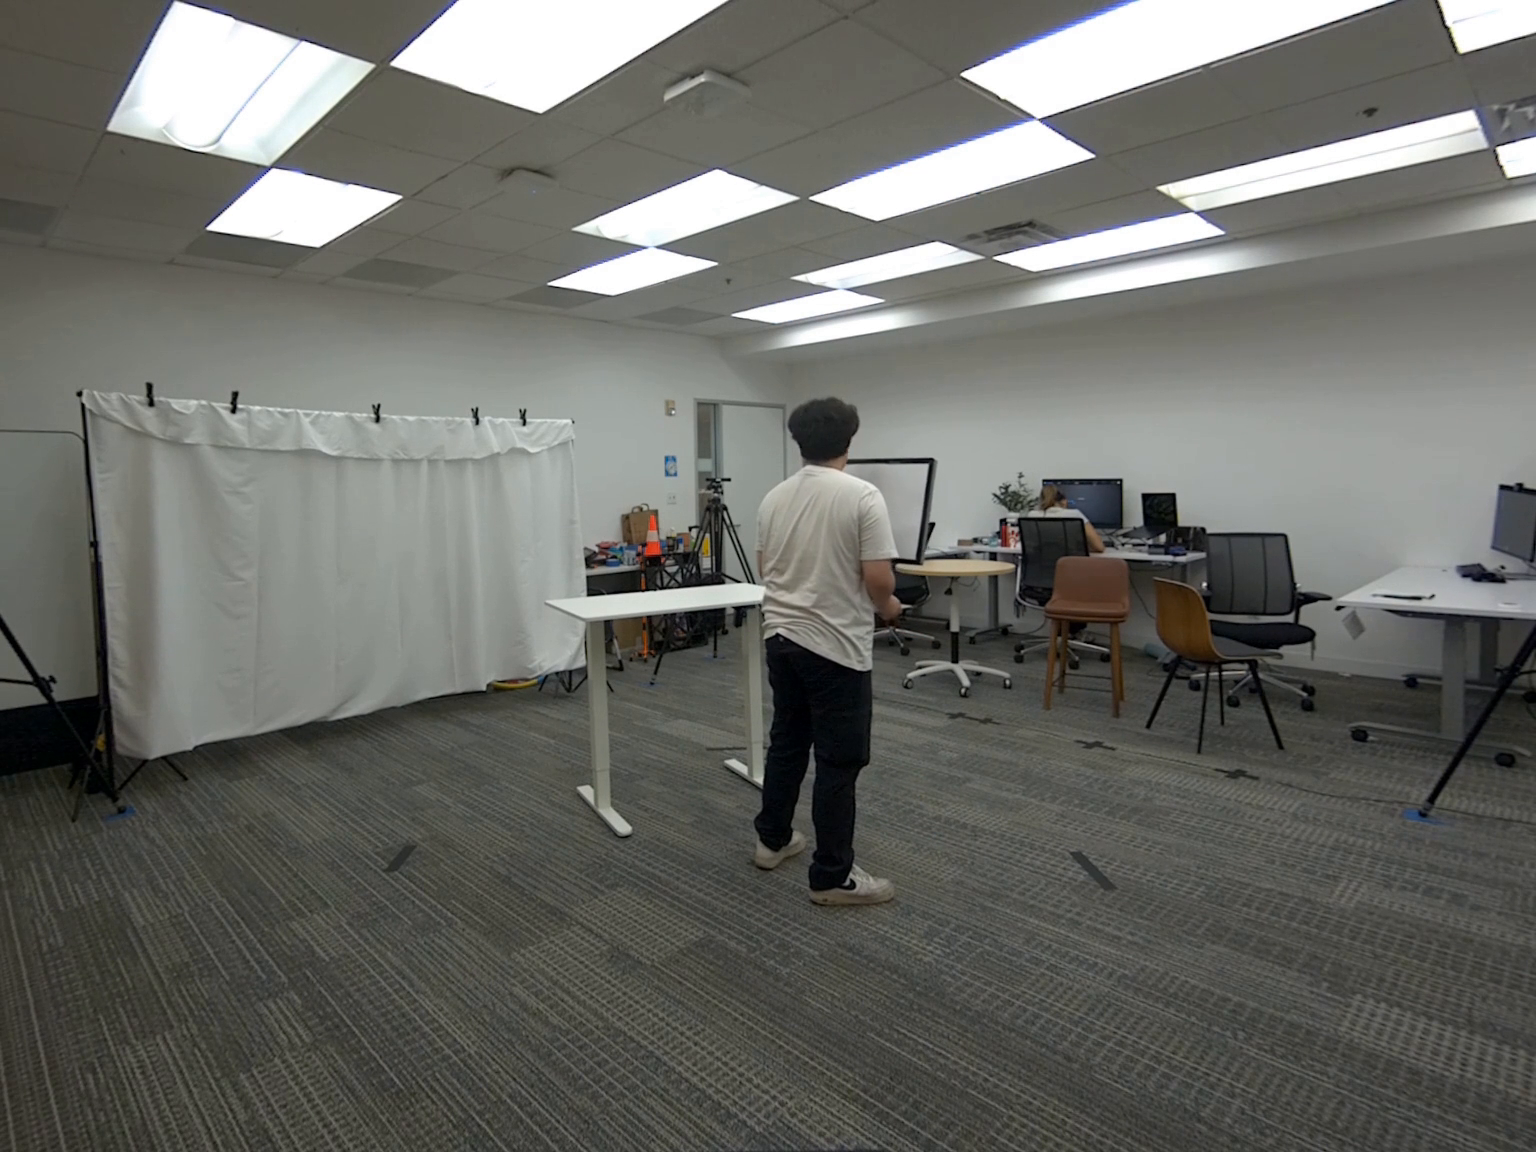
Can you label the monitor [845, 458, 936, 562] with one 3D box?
[{"bbox_3d":[0.389,-0.152,3.097,0.204,0.554,0.582,4,1,-40],"label":"monitor"}]
